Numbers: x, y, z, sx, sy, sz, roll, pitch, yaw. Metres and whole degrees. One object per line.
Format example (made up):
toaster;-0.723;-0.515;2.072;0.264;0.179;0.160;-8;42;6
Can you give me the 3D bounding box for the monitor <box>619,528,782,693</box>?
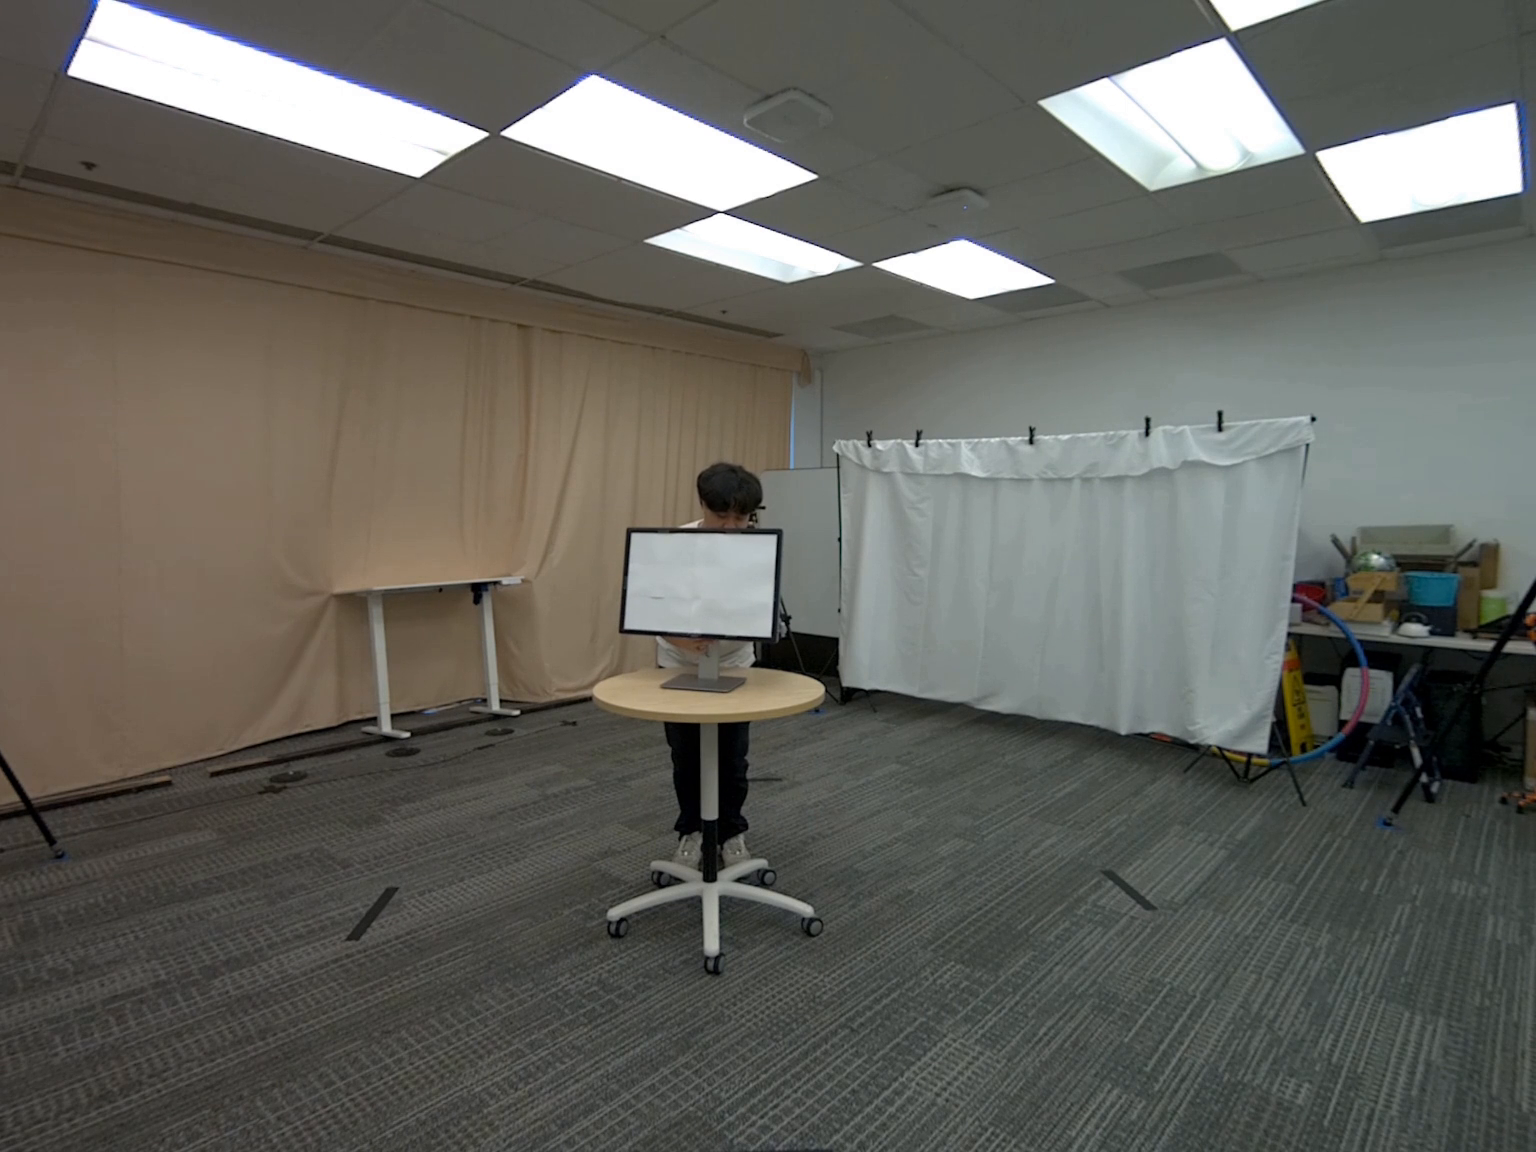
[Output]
monitor;-0.203;0.111;2.839;0.578;0.554;0.205;1;-2;21
